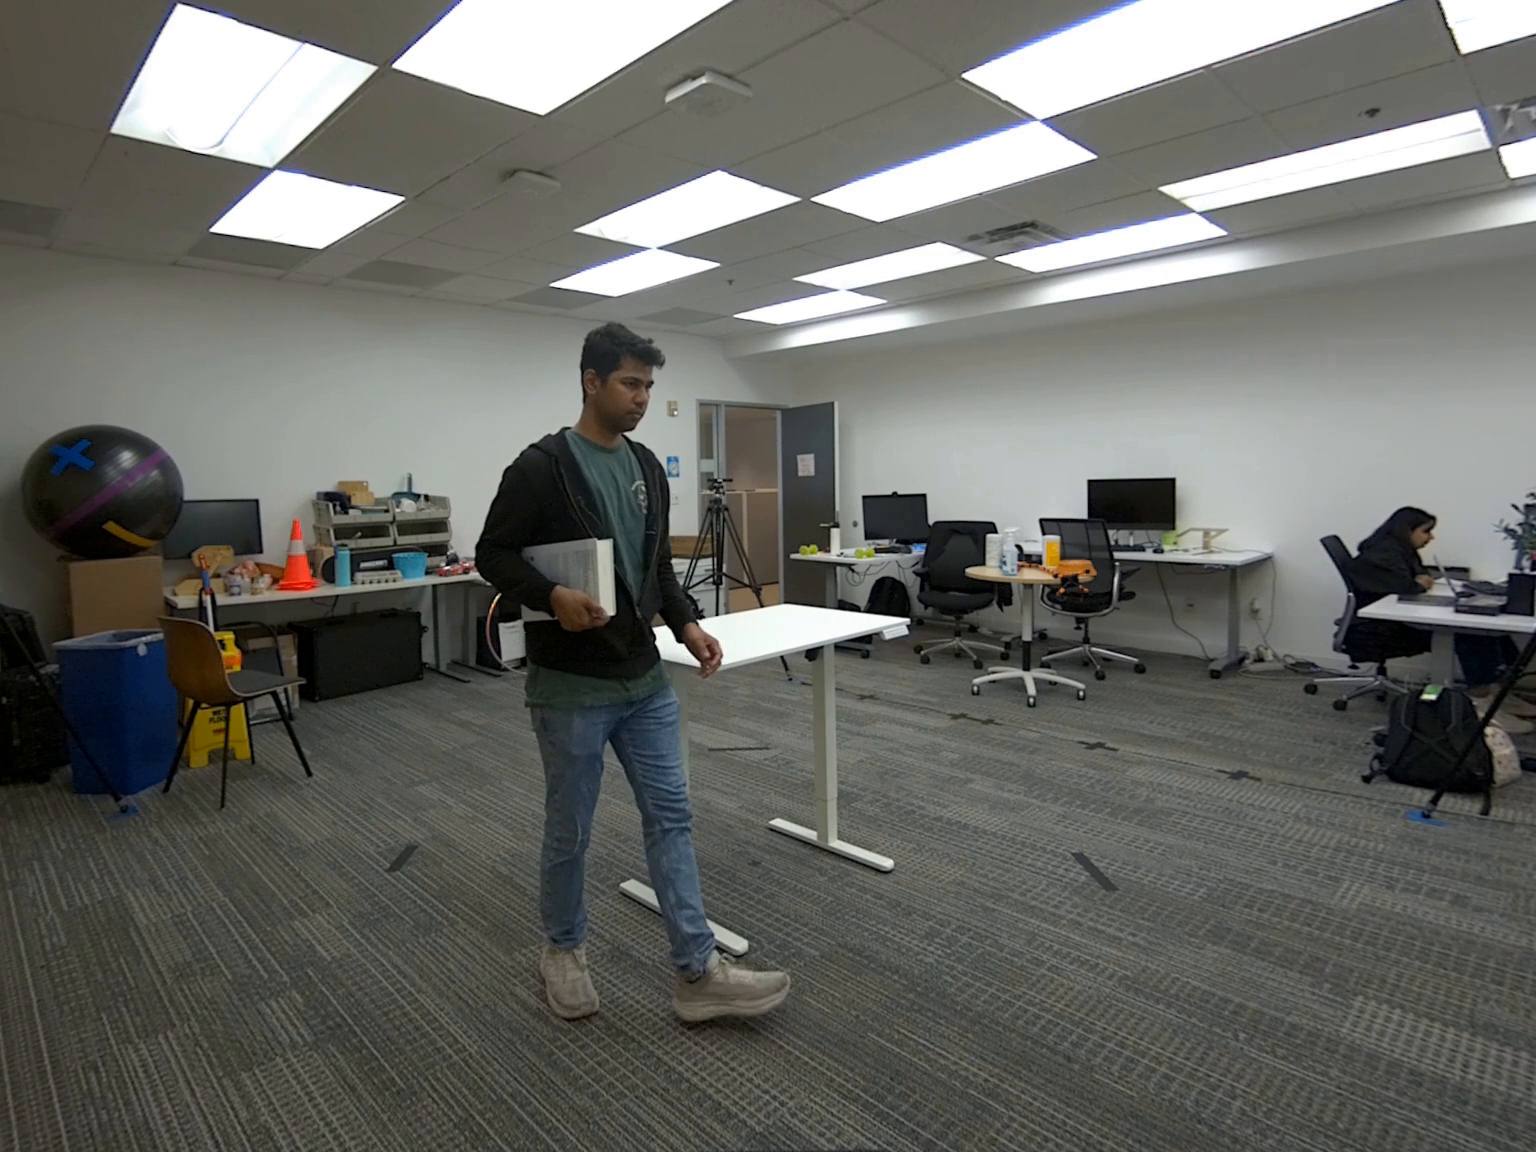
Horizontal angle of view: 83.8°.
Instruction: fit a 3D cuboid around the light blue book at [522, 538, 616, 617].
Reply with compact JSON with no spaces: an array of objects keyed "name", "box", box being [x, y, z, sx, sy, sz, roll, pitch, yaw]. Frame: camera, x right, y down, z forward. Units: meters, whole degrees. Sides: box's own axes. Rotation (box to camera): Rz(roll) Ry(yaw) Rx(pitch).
[{"name":"light blue book","box":[-0.498,0.013,2.131,0.267,0.192,0.057,-7,-6,33]}]
